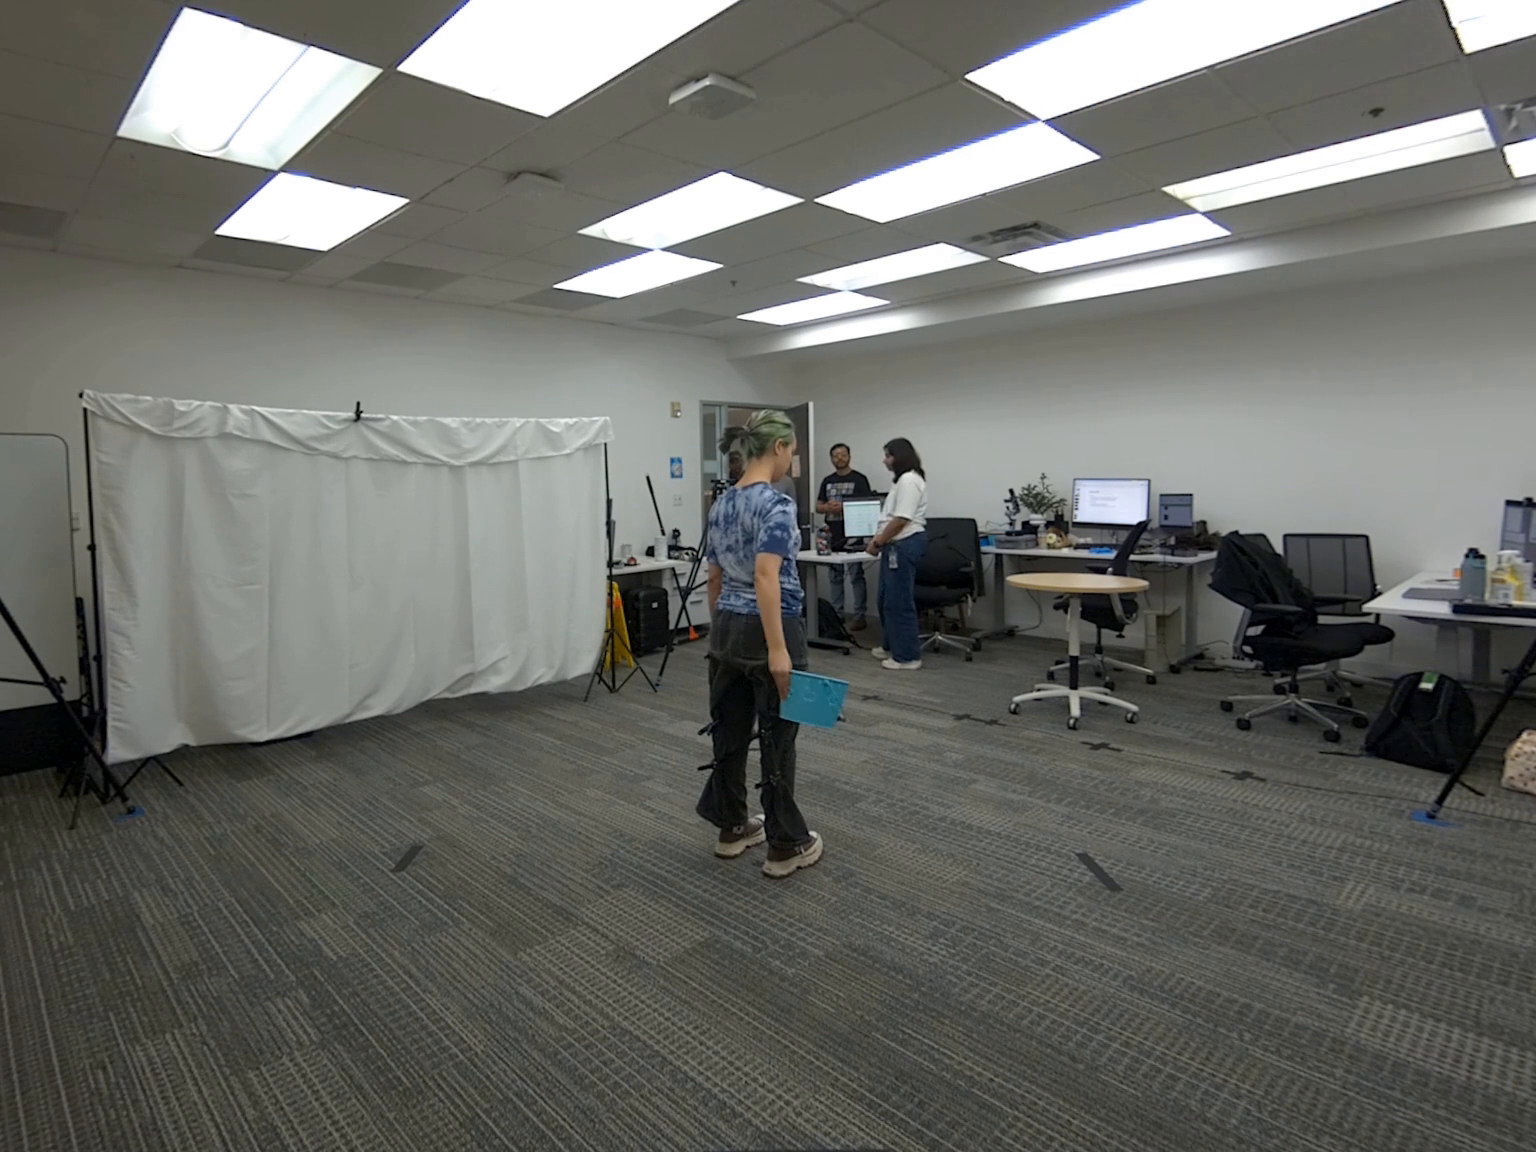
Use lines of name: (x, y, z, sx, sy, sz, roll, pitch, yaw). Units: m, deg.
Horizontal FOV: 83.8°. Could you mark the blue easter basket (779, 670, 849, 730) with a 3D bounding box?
blue easter basket: (0.150, 0.392, 2.759, 0.243, 0.156, 0.243, 9, -4, -1)
